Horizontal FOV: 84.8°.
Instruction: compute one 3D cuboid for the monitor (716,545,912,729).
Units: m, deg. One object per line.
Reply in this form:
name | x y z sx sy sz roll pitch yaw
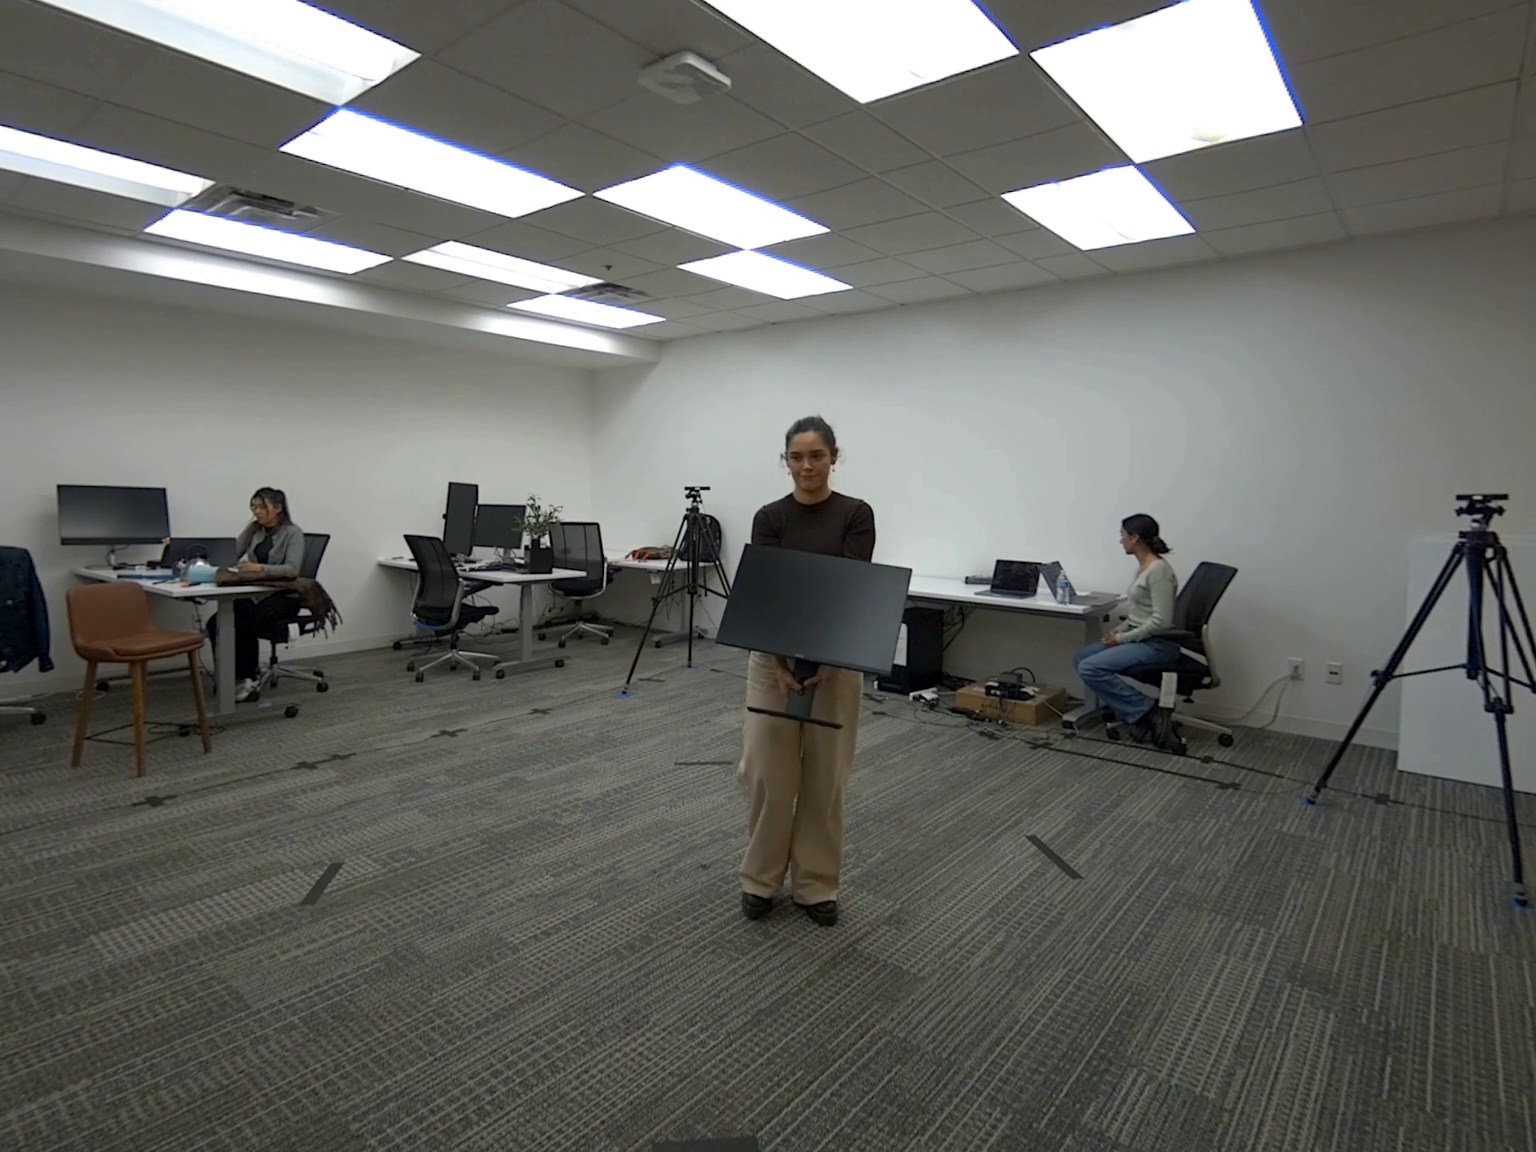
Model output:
monitor | 0.130 0.184 2.591 0.549 0.528 0.182 8 -15 15
